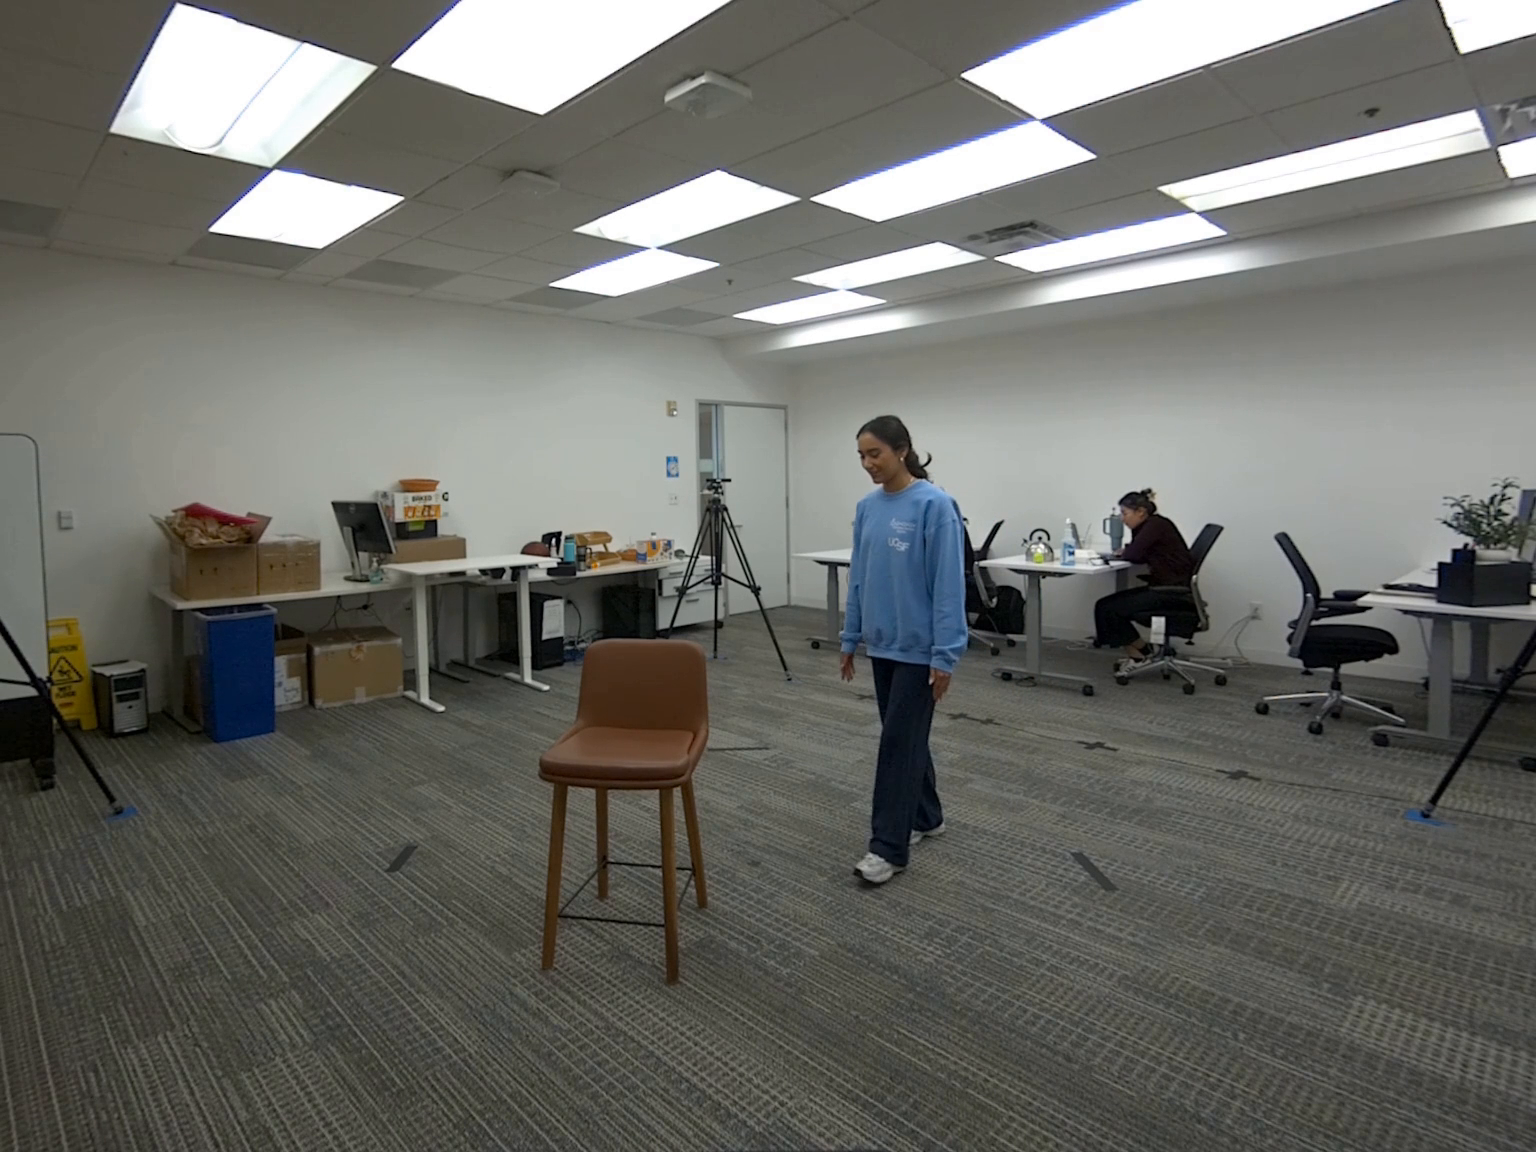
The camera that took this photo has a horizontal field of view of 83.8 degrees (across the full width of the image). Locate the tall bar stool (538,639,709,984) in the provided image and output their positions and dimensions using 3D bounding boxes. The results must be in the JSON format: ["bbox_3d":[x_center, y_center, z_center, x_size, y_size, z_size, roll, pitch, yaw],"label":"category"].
[{"bbox_3d":[-0.421,0.677,2.606,0.462,0.887,0.463,0,3,12],"label":"tall bar stool"}]
